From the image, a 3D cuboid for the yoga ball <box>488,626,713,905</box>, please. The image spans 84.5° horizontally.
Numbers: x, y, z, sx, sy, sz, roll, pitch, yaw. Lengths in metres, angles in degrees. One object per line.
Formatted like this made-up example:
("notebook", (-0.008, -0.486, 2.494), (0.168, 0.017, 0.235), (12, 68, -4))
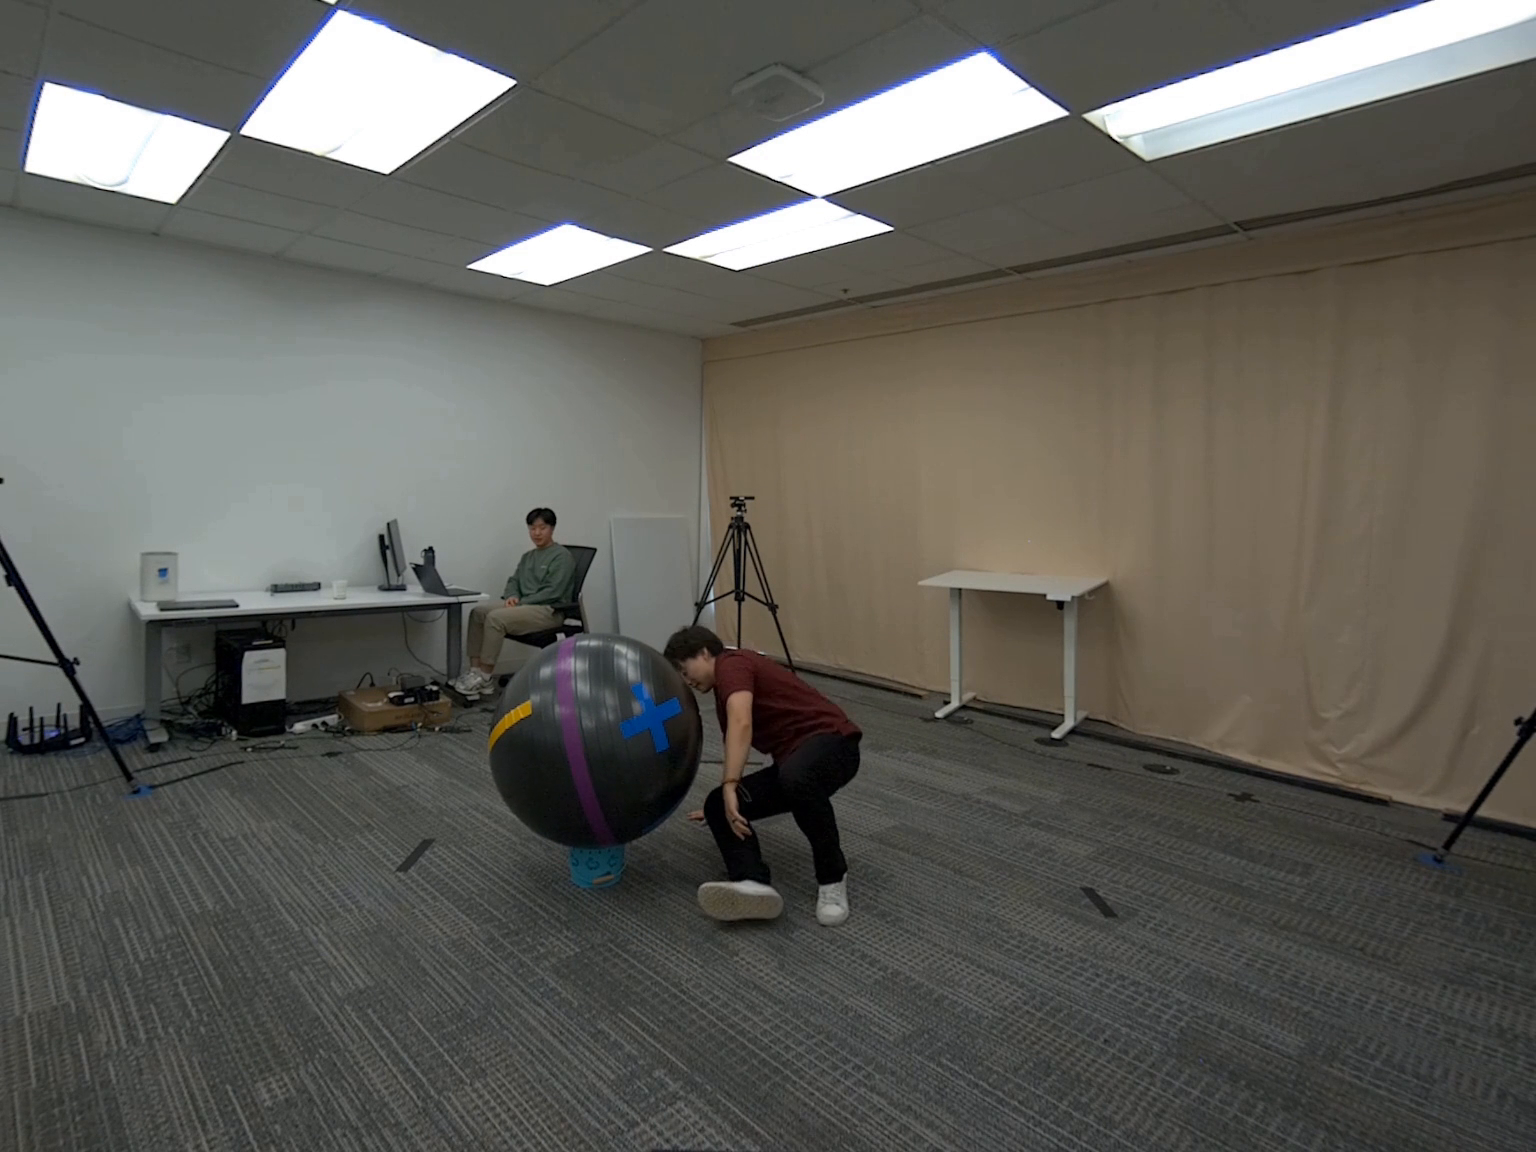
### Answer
("yoga ball", (-0.625, 0.594, 3.038), (0.757, 0.756, 0.761), (1, 4, -1))
